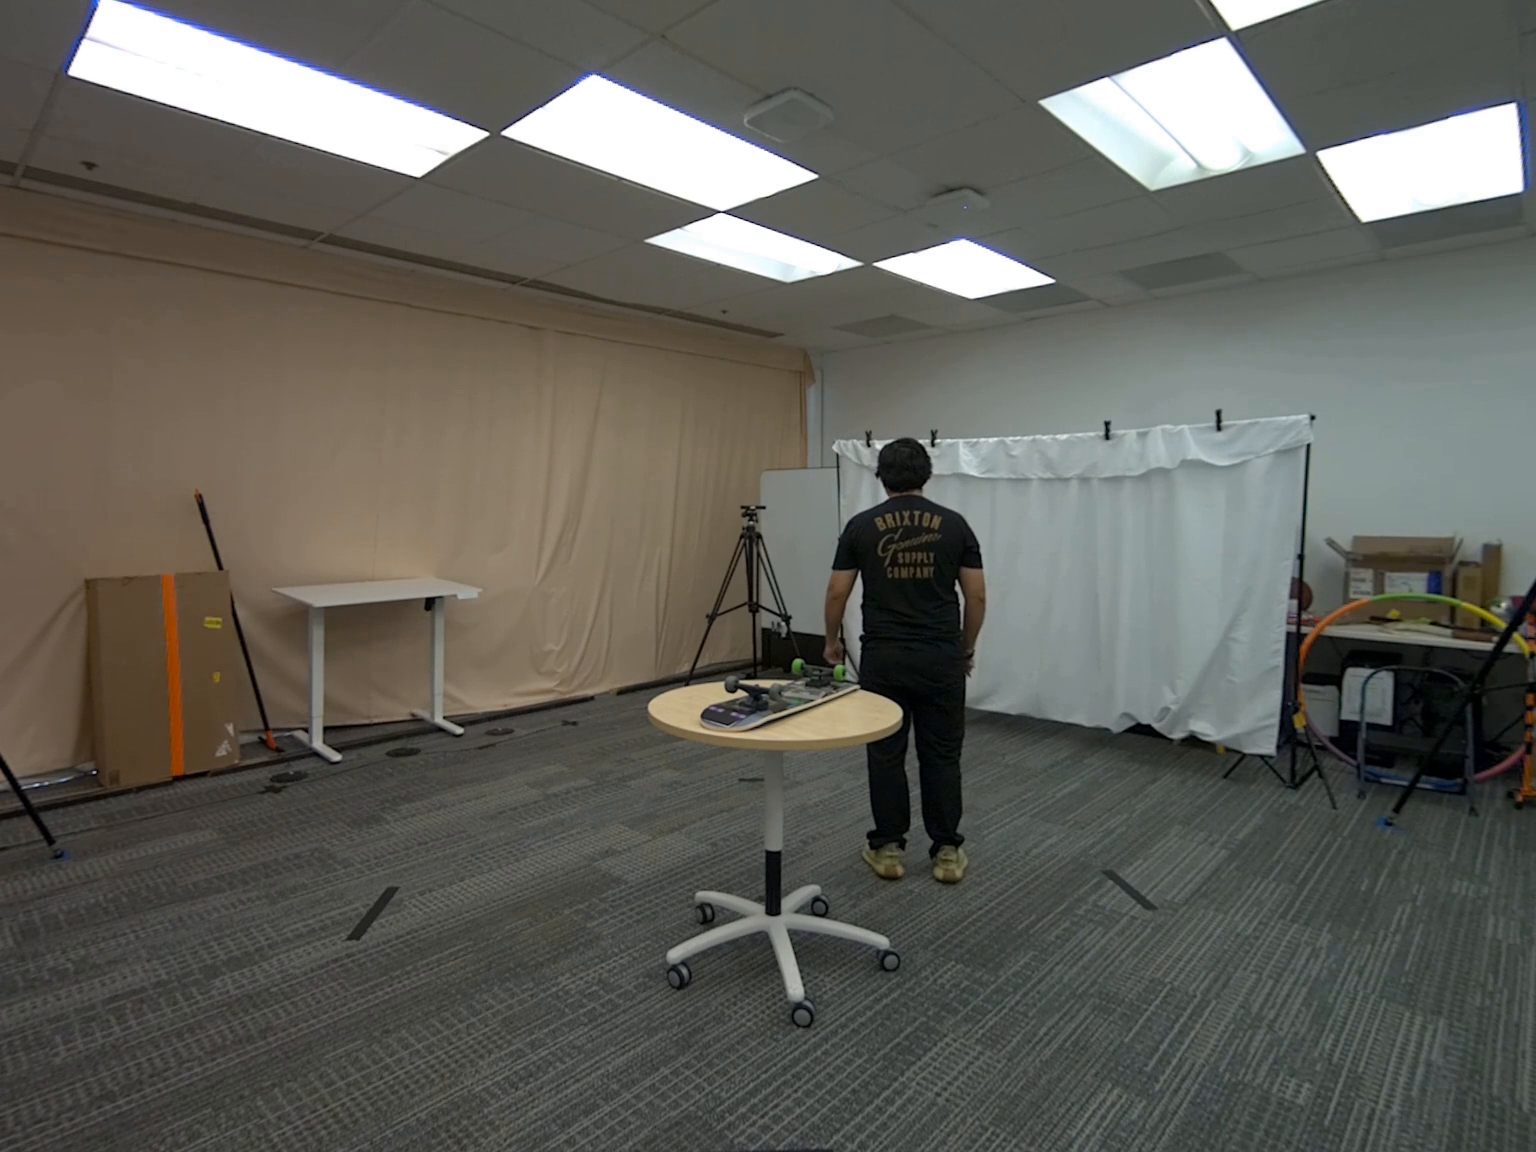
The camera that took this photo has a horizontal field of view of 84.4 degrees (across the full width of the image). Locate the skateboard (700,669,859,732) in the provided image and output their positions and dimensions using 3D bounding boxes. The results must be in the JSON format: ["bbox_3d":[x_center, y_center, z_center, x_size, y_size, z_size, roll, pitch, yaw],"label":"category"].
[{"bbox_3d":[0.070,0.358,2.573,0.199,0.110,0.762,4,4,34],"label":"skateboard"}]
